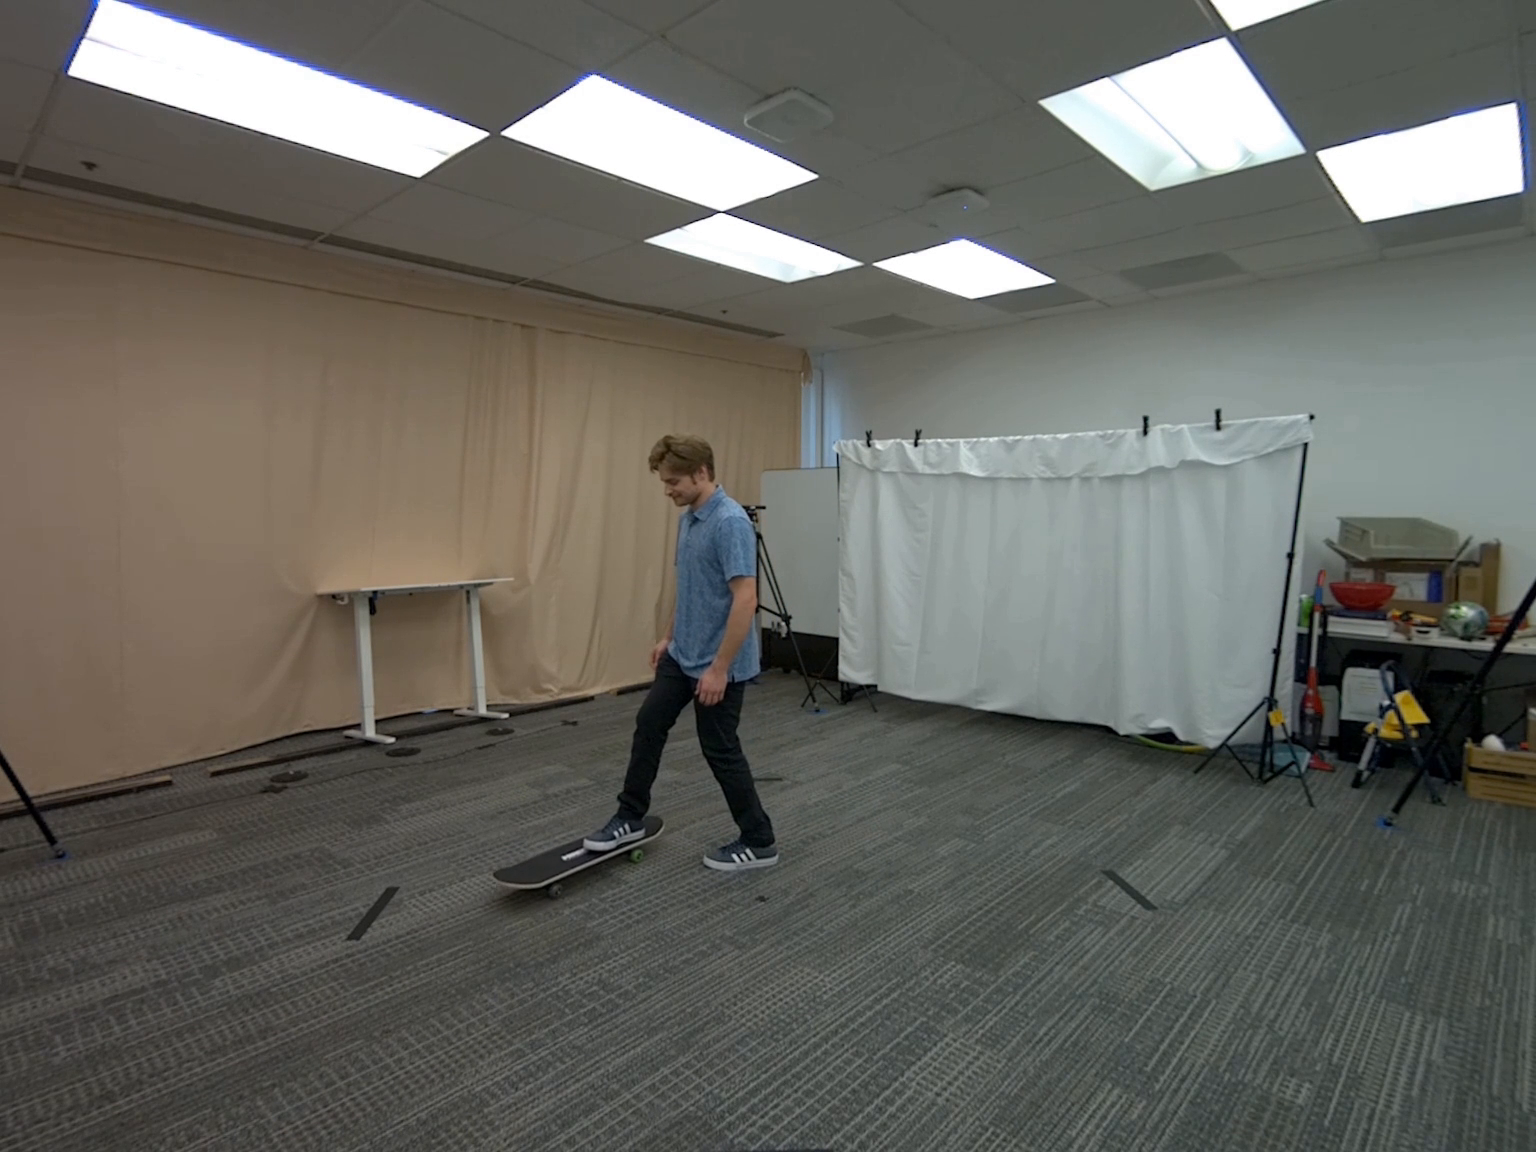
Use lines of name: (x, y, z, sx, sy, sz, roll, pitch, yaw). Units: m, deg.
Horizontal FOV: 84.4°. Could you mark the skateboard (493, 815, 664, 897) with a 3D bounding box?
skateboard: (-0.693, 1.073, 3.196, 0.200, 0.110, 0.762, 4, 6, 39)
